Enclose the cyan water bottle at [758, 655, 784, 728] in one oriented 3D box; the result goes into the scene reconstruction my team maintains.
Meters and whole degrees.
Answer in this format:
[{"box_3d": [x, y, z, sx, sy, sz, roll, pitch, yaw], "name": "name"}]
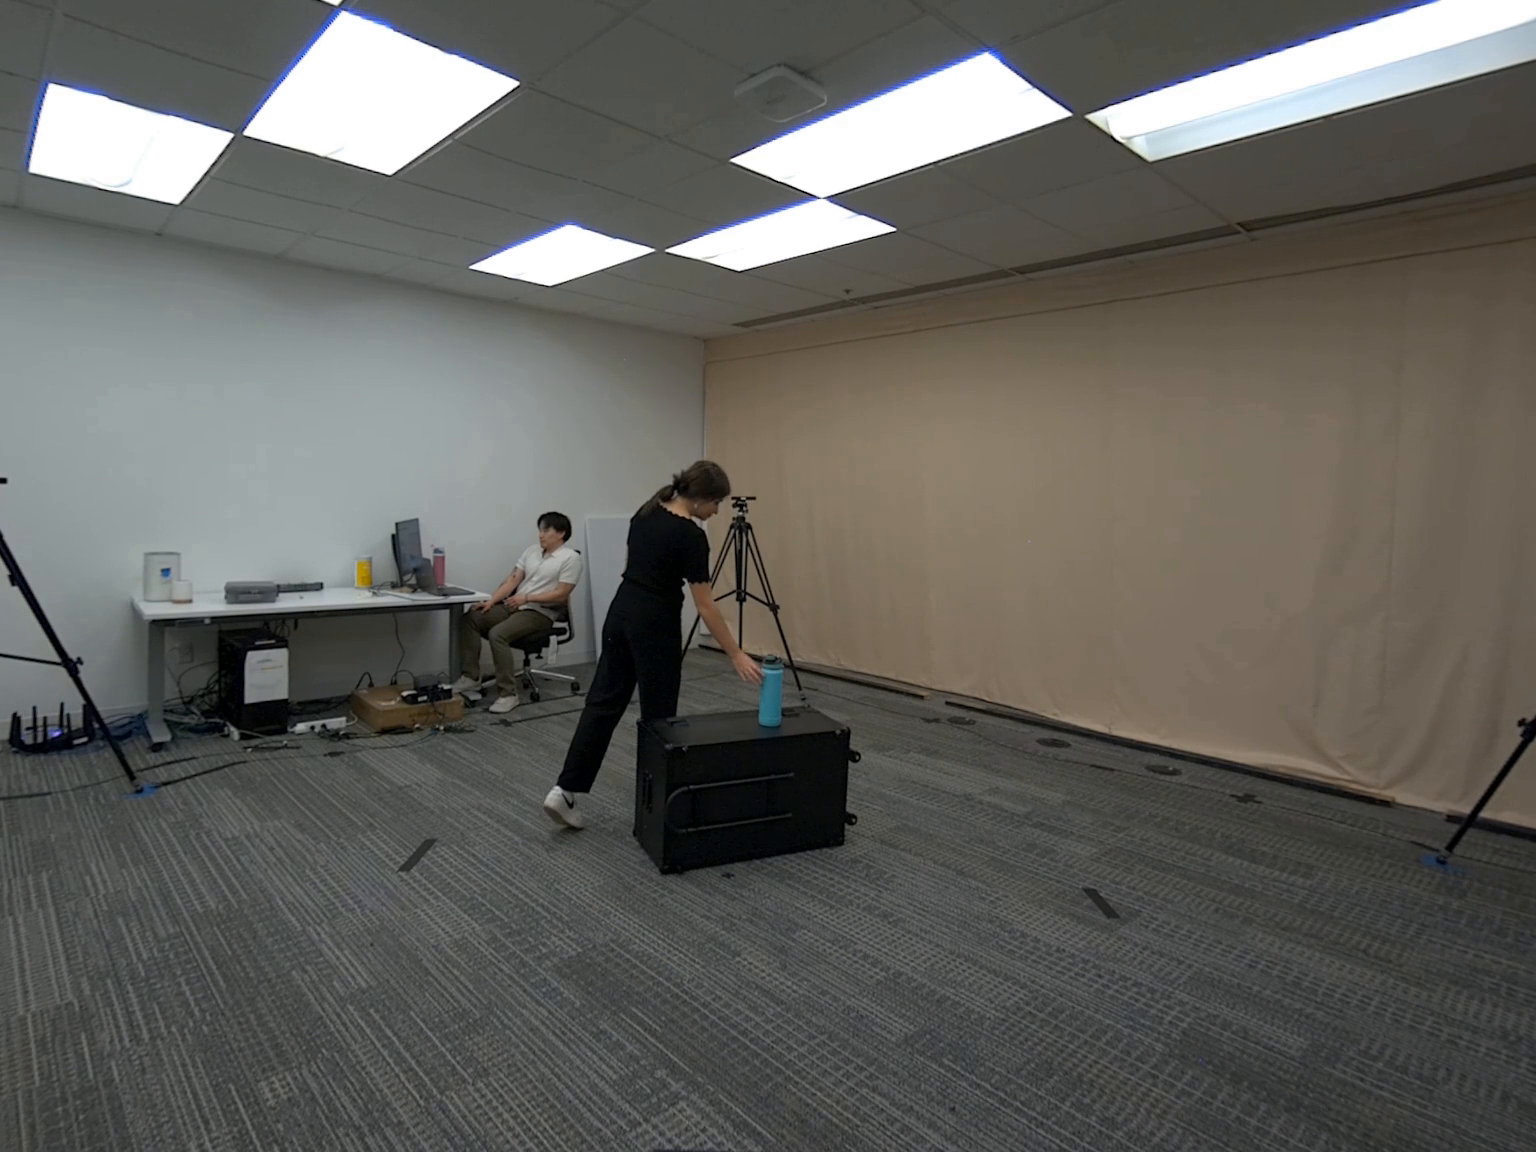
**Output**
[{"box_3d": [-0.001, 0.454, 3.387, 0.092, 0.282, 0.093, 2, 5, -2], "name": "cyan water bottle"}]
